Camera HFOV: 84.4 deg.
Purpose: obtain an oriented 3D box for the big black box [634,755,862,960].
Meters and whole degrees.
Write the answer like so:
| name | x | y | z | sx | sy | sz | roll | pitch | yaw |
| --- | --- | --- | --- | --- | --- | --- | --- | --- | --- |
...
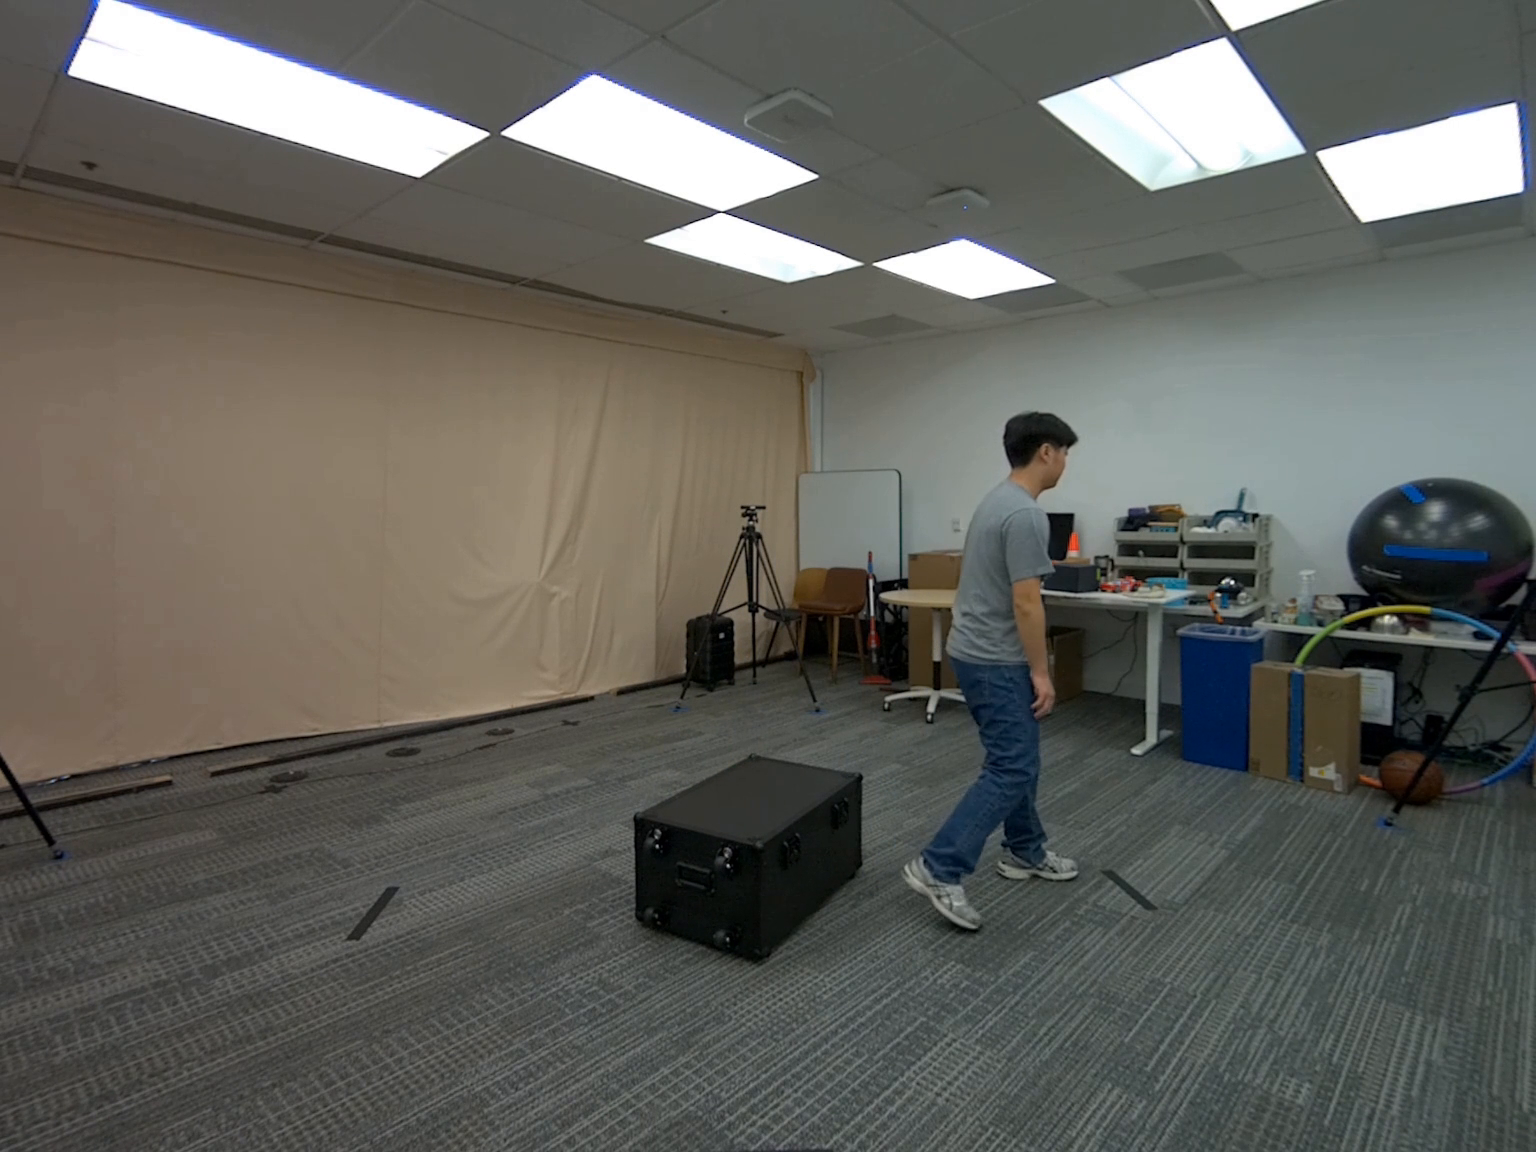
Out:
| name | x | y | z | sx | sy | sz | roll | pitch | yaw |
| --- | --- | --- | --- | --- | --- | --- | --- | --- | --- |
| big black box | -0.057 | 0.956 | 2.954 | 0.536 | 0.395 | 0.838 | 3 | 5 | 30 |
